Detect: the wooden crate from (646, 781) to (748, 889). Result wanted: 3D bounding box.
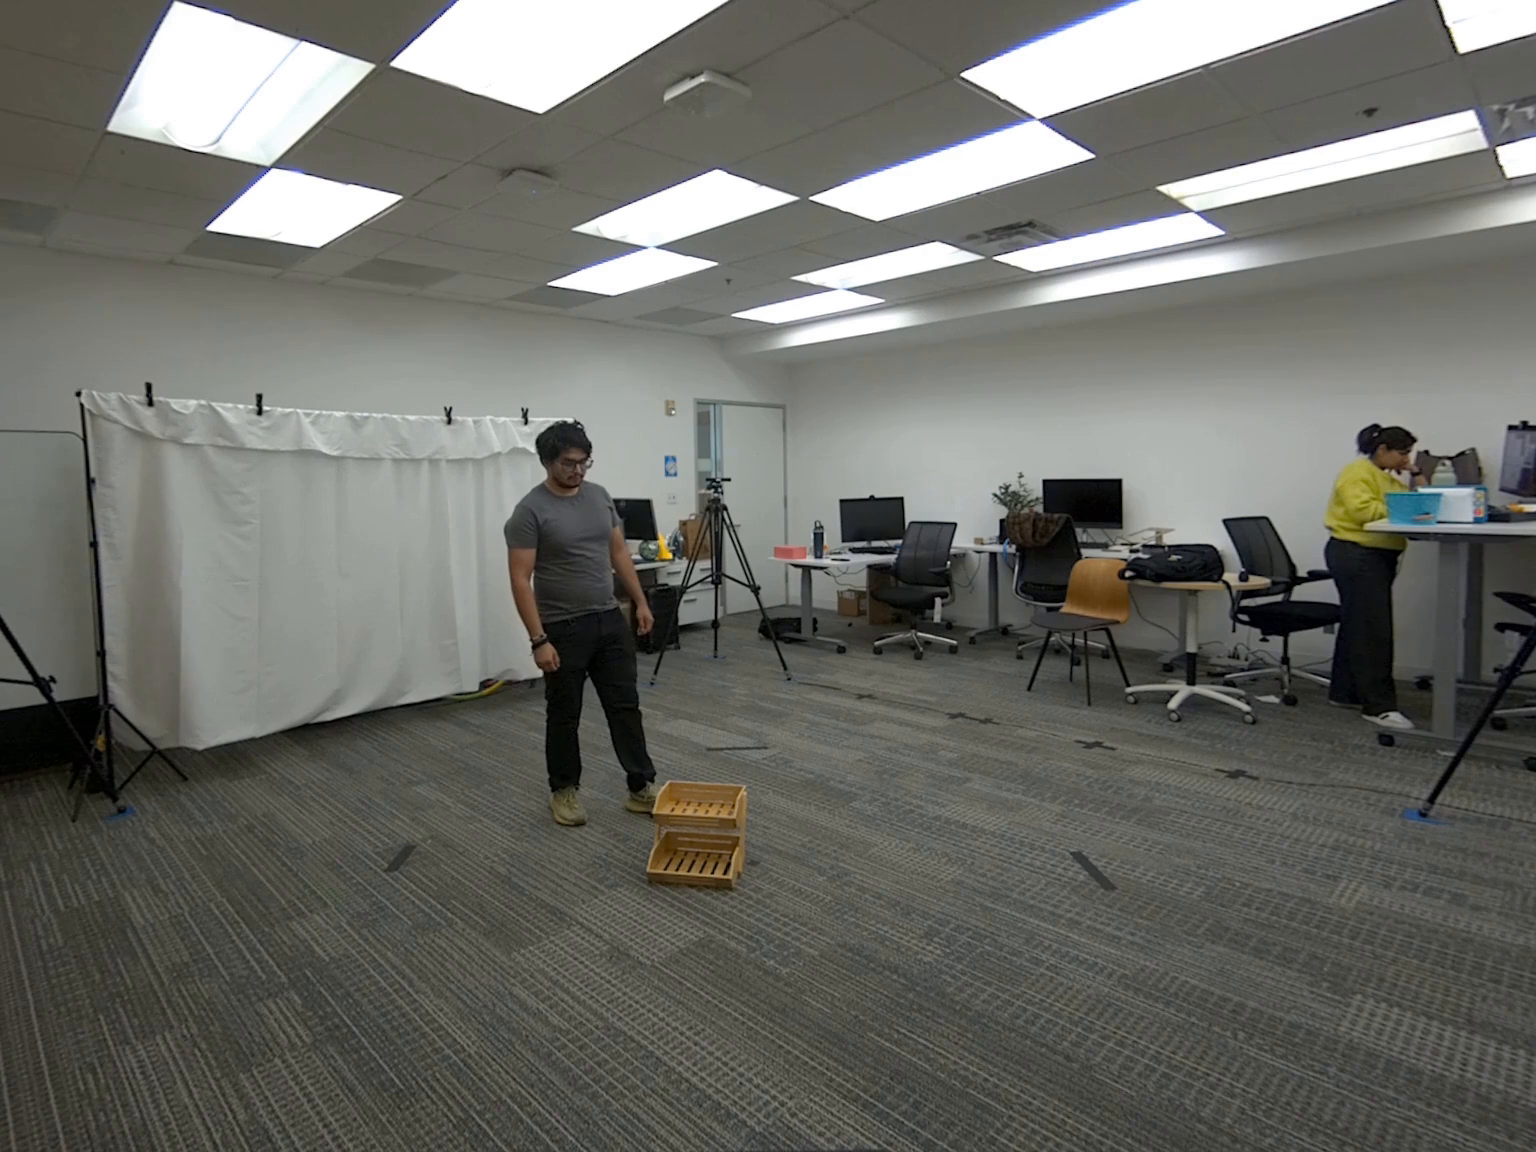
[{"bbox_3d":[-0.248,0.916,3.054,0.328,0.272,0.300,0,4,10],"label":"wooden crate"}]
